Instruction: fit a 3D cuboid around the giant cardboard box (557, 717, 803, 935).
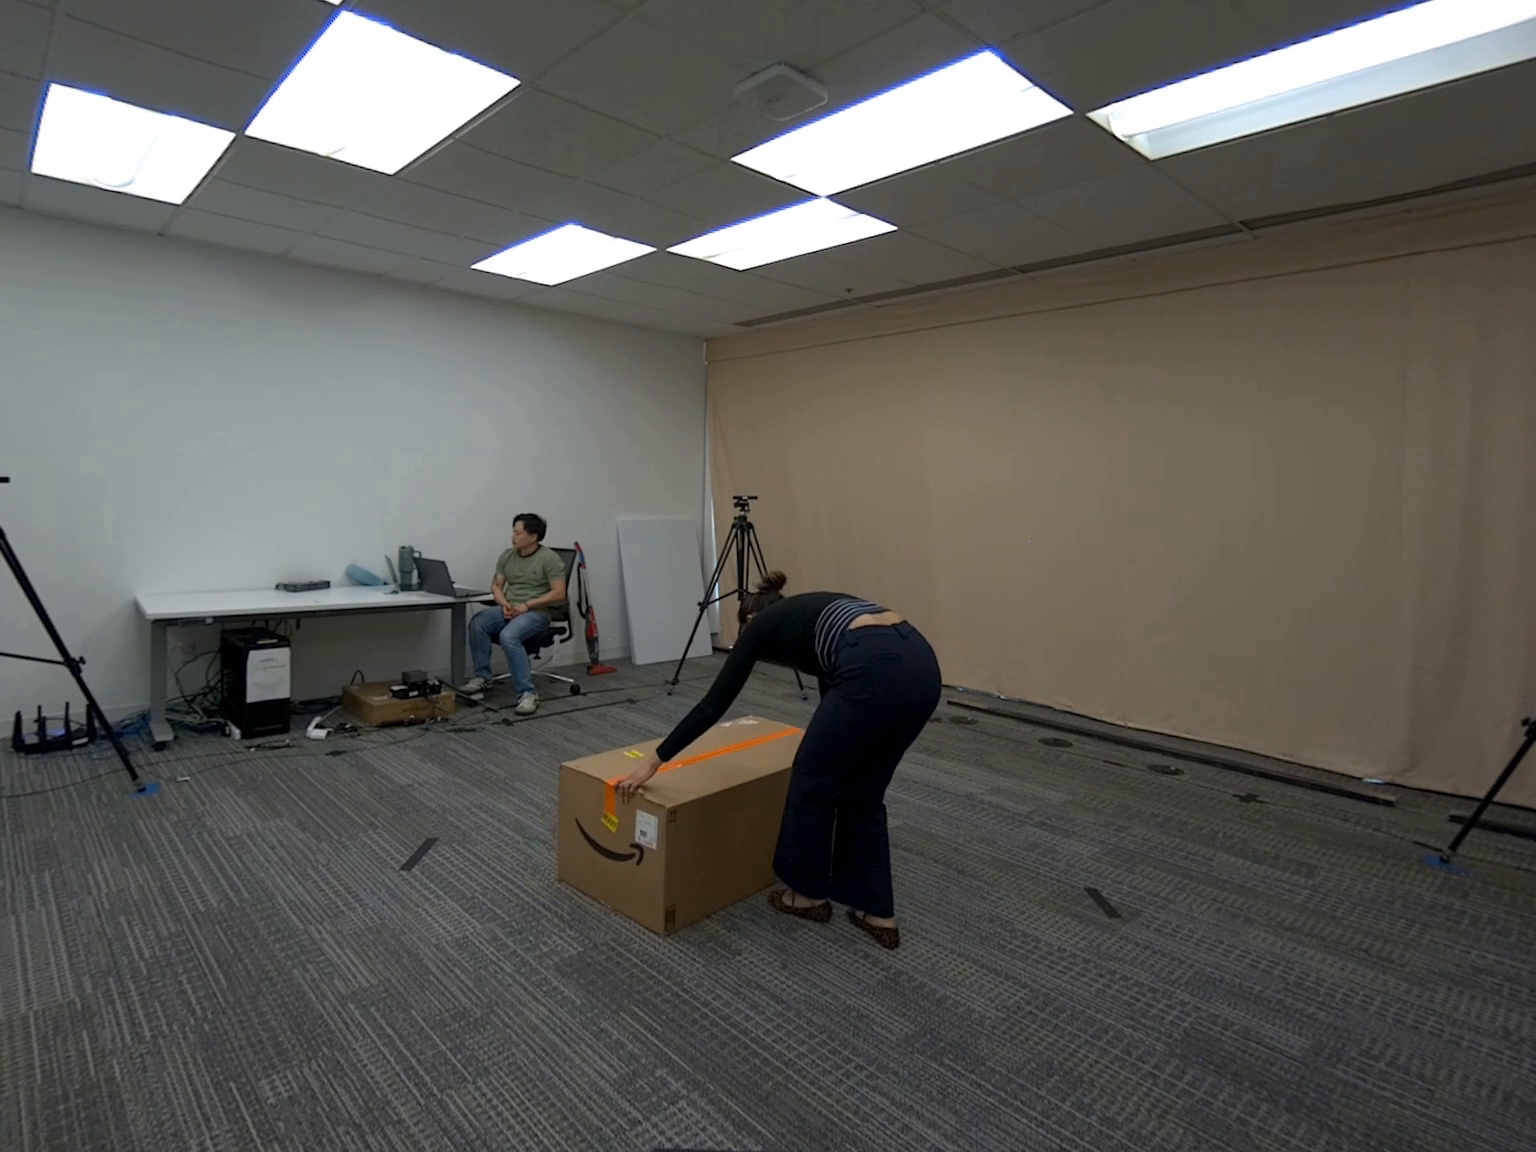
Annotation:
[{"bbox_3d":[-0.209,0.880,3.199,0.592,0.425,1.003,5,6,42],"label":"giant cardboard box"}]
